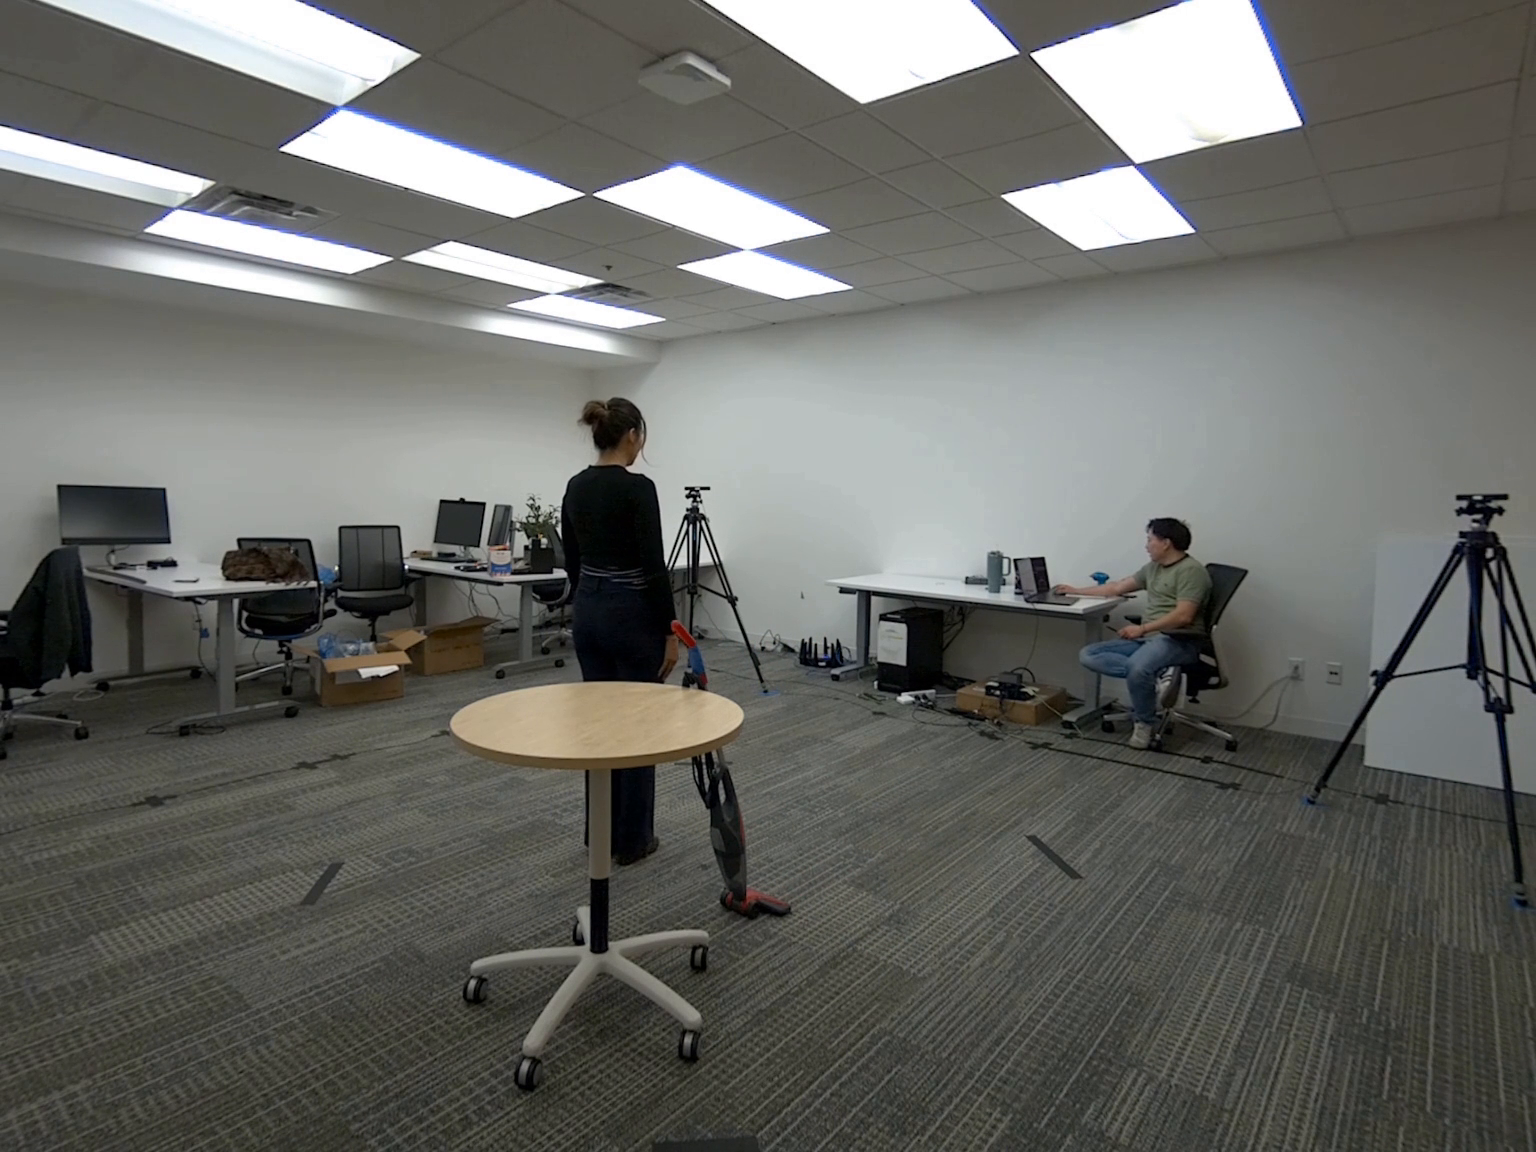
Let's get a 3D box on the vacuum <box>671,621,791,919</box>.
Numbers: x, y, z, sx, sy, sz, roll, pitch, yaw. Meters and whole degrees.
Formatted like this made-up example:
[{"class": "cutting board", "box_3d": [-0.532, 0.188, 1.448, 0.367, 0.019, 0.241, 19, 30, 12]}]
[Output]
[{"class": "vacuum", "box_3d": [-0.171, 0.620, 2.657, 0.261, 1.027, 0.142, 3, 25, 37]}]
